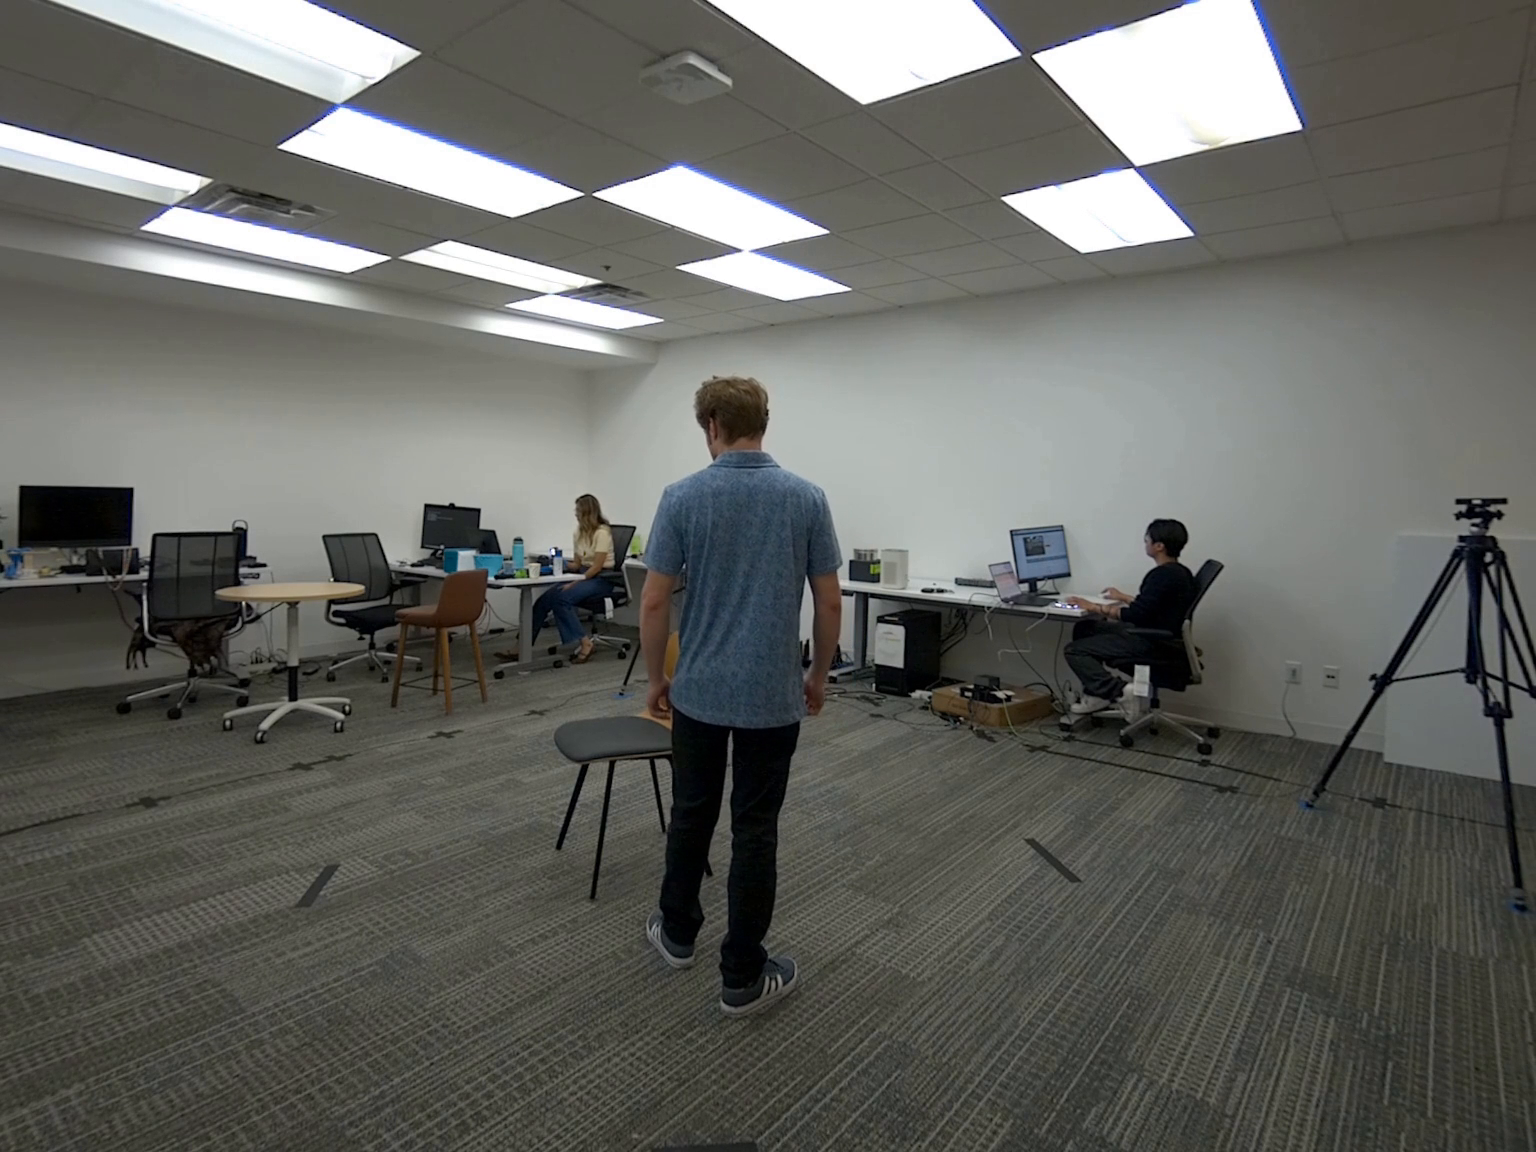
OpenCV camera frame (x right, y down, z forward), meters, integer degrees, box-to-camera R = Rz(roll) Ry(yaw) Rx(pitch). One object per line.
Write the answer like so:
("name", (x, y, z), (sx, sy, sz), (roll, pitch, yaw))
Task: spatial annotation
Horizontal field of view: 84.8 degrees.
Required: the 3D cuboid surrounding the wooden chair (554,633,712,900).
("wooden chair", (-0.517, 0.638, 3.127), (0.509, 0.876, 0.492), (4, 2, -28))
